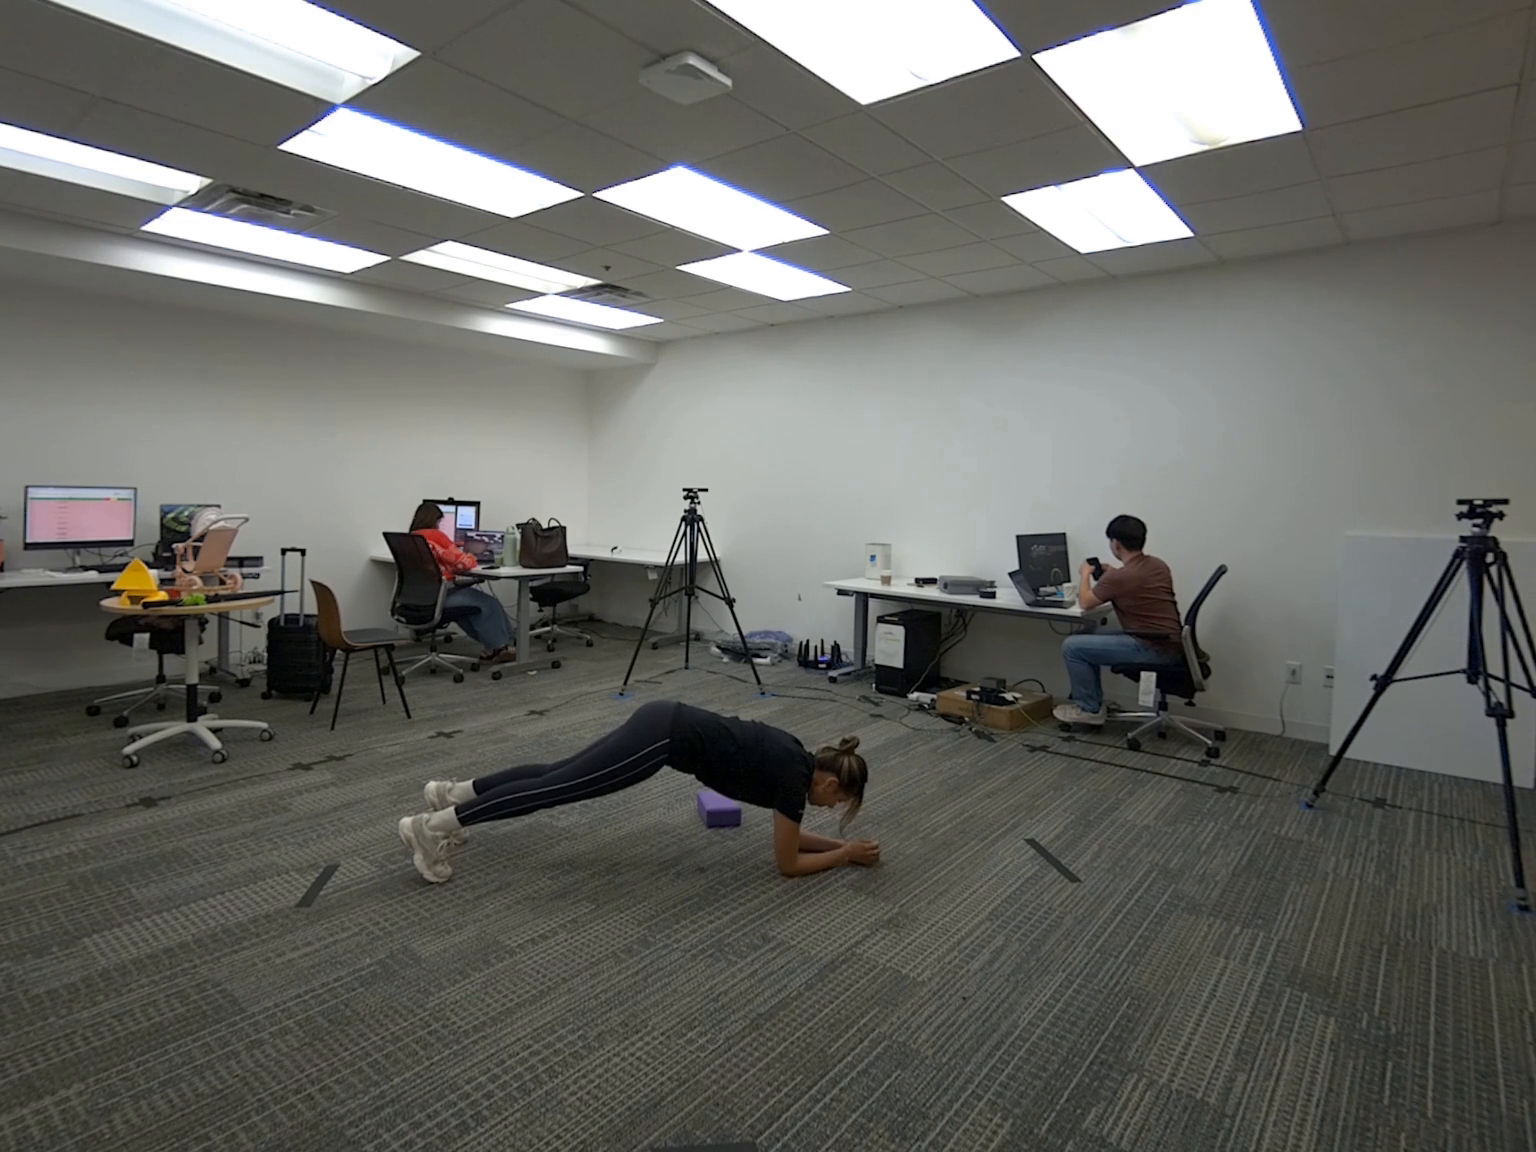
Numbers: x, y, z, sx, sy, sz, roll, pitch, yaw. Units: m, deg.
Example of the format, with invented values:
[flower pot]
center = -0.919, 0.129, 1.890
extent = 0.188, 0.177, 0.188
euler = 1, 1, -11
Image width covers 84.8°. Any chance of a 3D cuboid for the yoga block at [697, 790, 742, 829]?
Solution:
[yoga block]
center = -0.218, 0.976, 3.616
extent = 0.147, 0.076, 0.234
euler = -1, 7, -15
